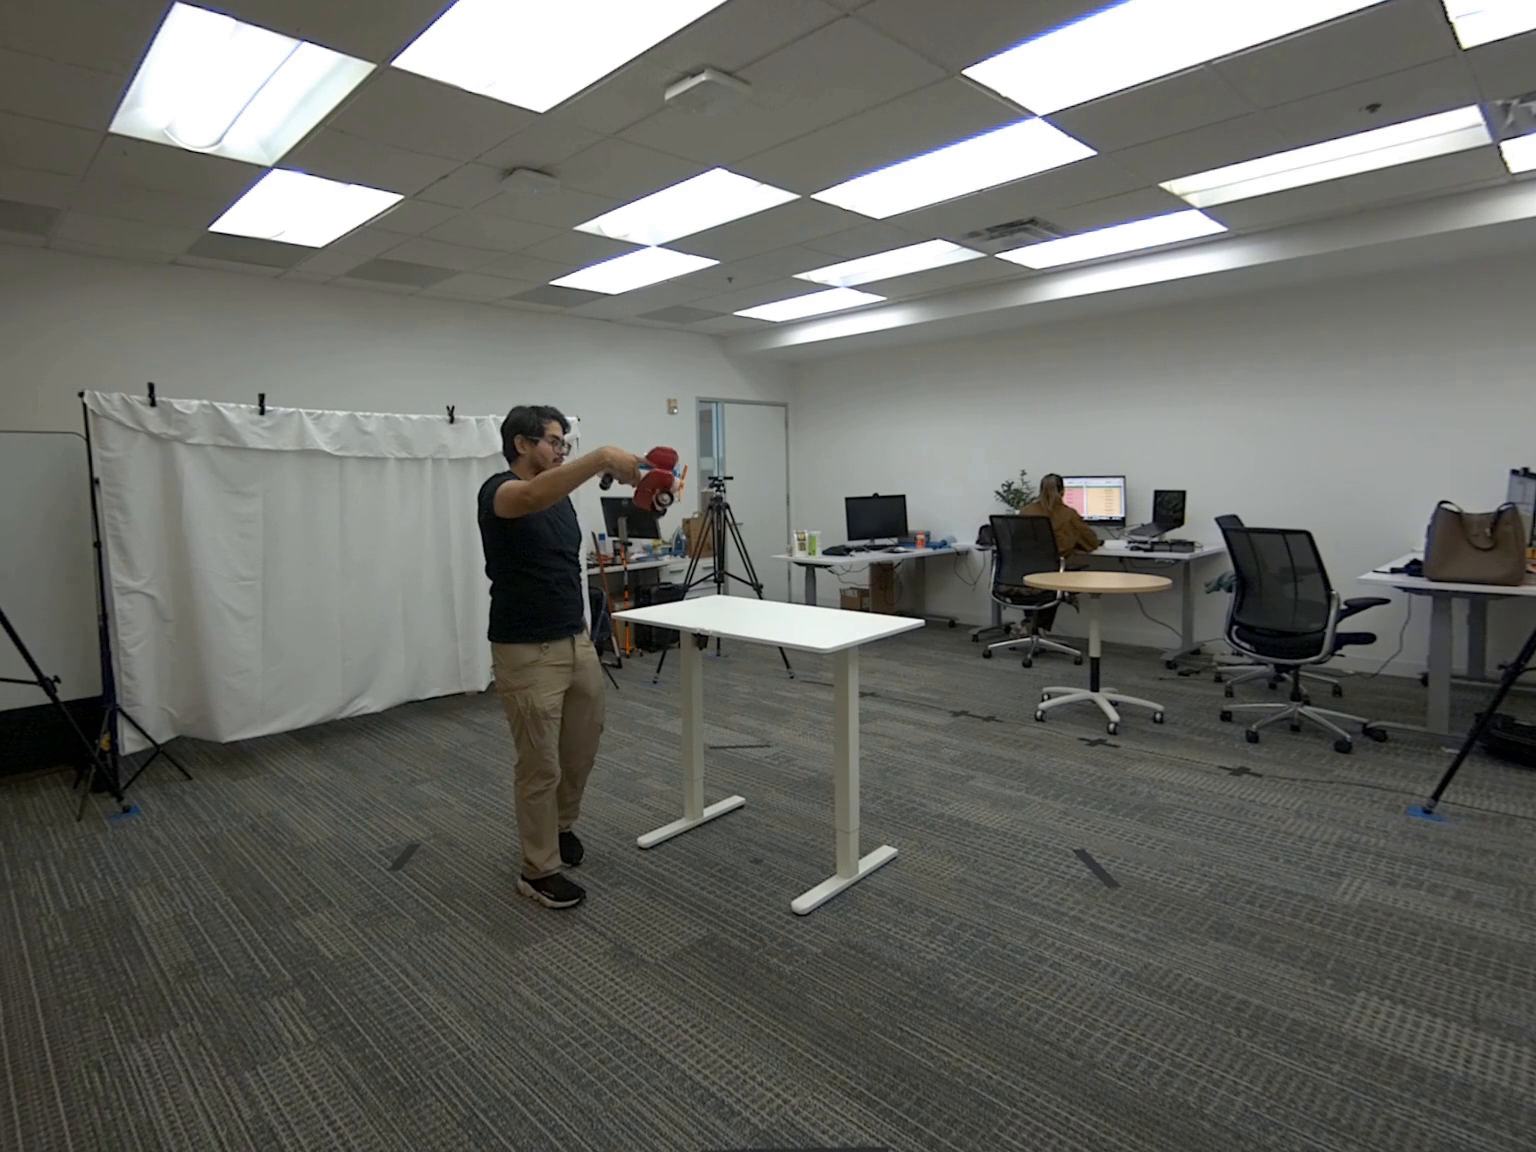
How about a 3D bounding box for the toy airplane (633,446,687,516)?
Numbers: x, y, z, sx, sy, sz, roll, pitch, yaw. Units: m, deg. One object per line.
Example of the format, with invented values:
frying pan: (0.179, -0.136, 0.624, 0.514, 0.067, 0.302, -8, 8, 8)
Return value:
toy airplane: (-0.379, -0.296, 2.565, 0.257, 0.158, 0.250, -10, -39, 44)
